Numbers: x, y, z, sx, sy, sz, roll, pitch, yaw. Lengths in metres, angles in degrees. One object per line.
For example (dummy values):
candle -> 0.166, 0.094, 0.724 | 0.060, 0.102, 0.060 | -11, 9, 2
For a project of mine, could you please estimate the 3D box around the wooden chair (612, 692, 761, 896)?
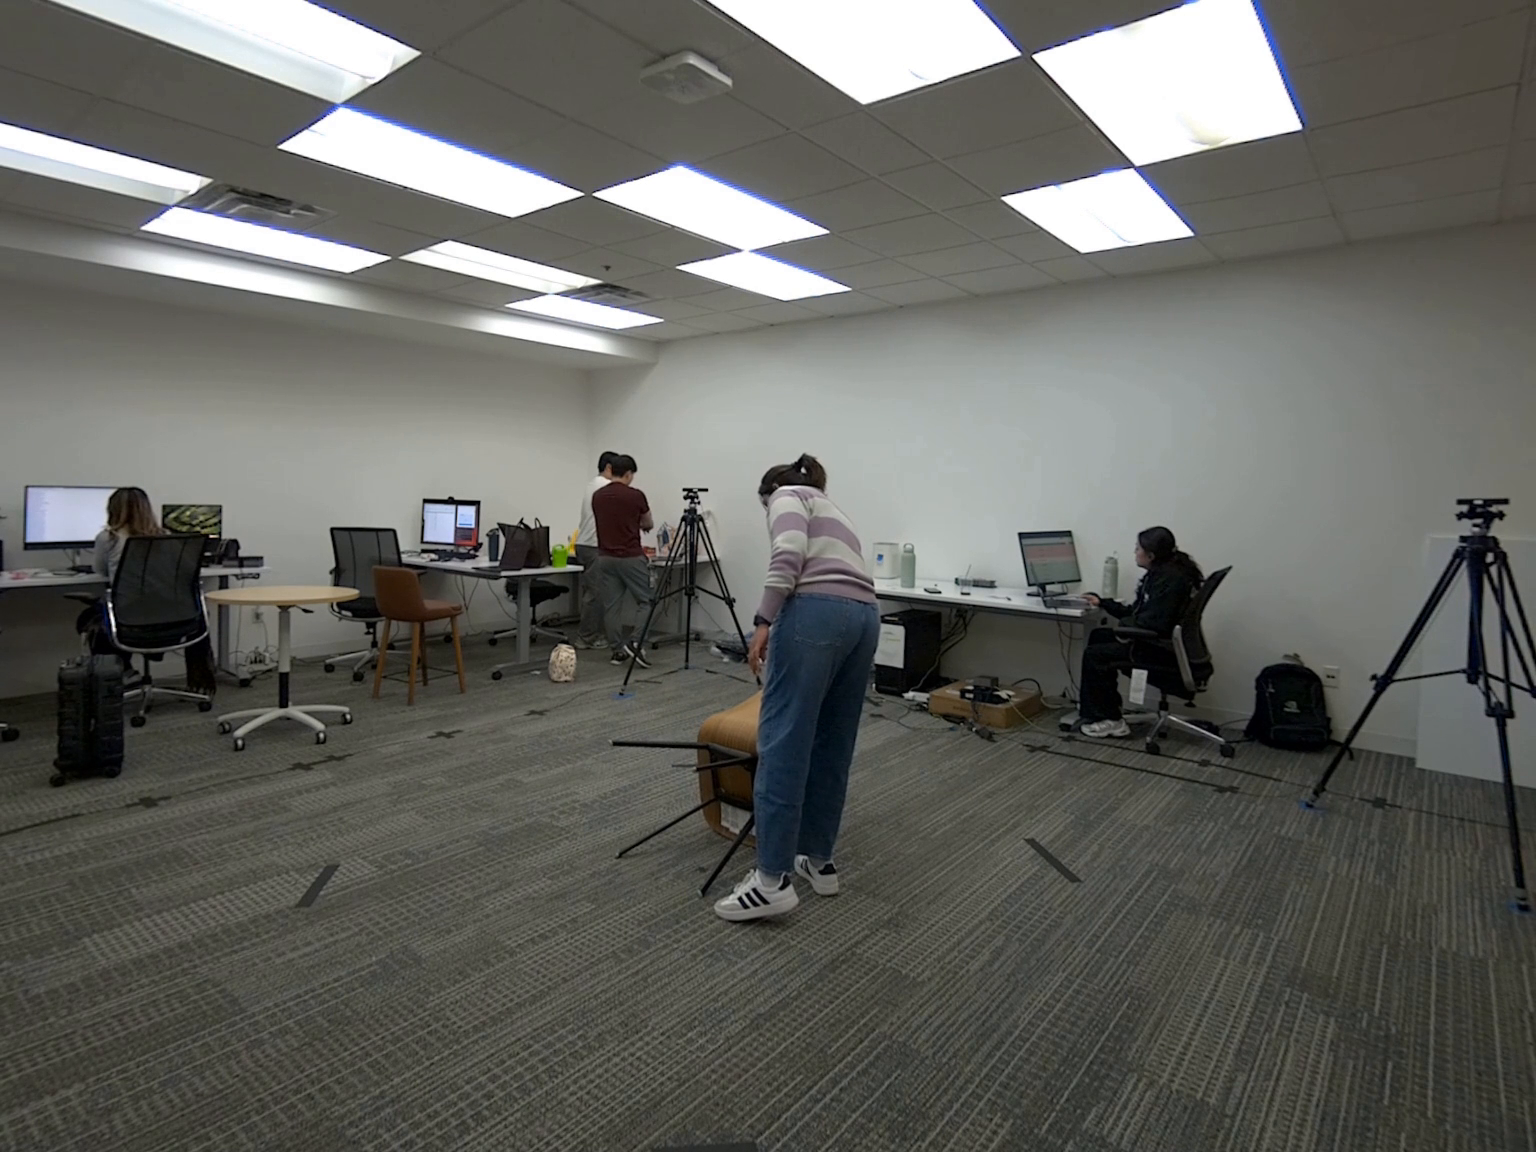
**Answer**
wooden chair -> -0.146, 0.797, 3.334 | 0.494, 0.518, 0.857 | 4, 13, 40
